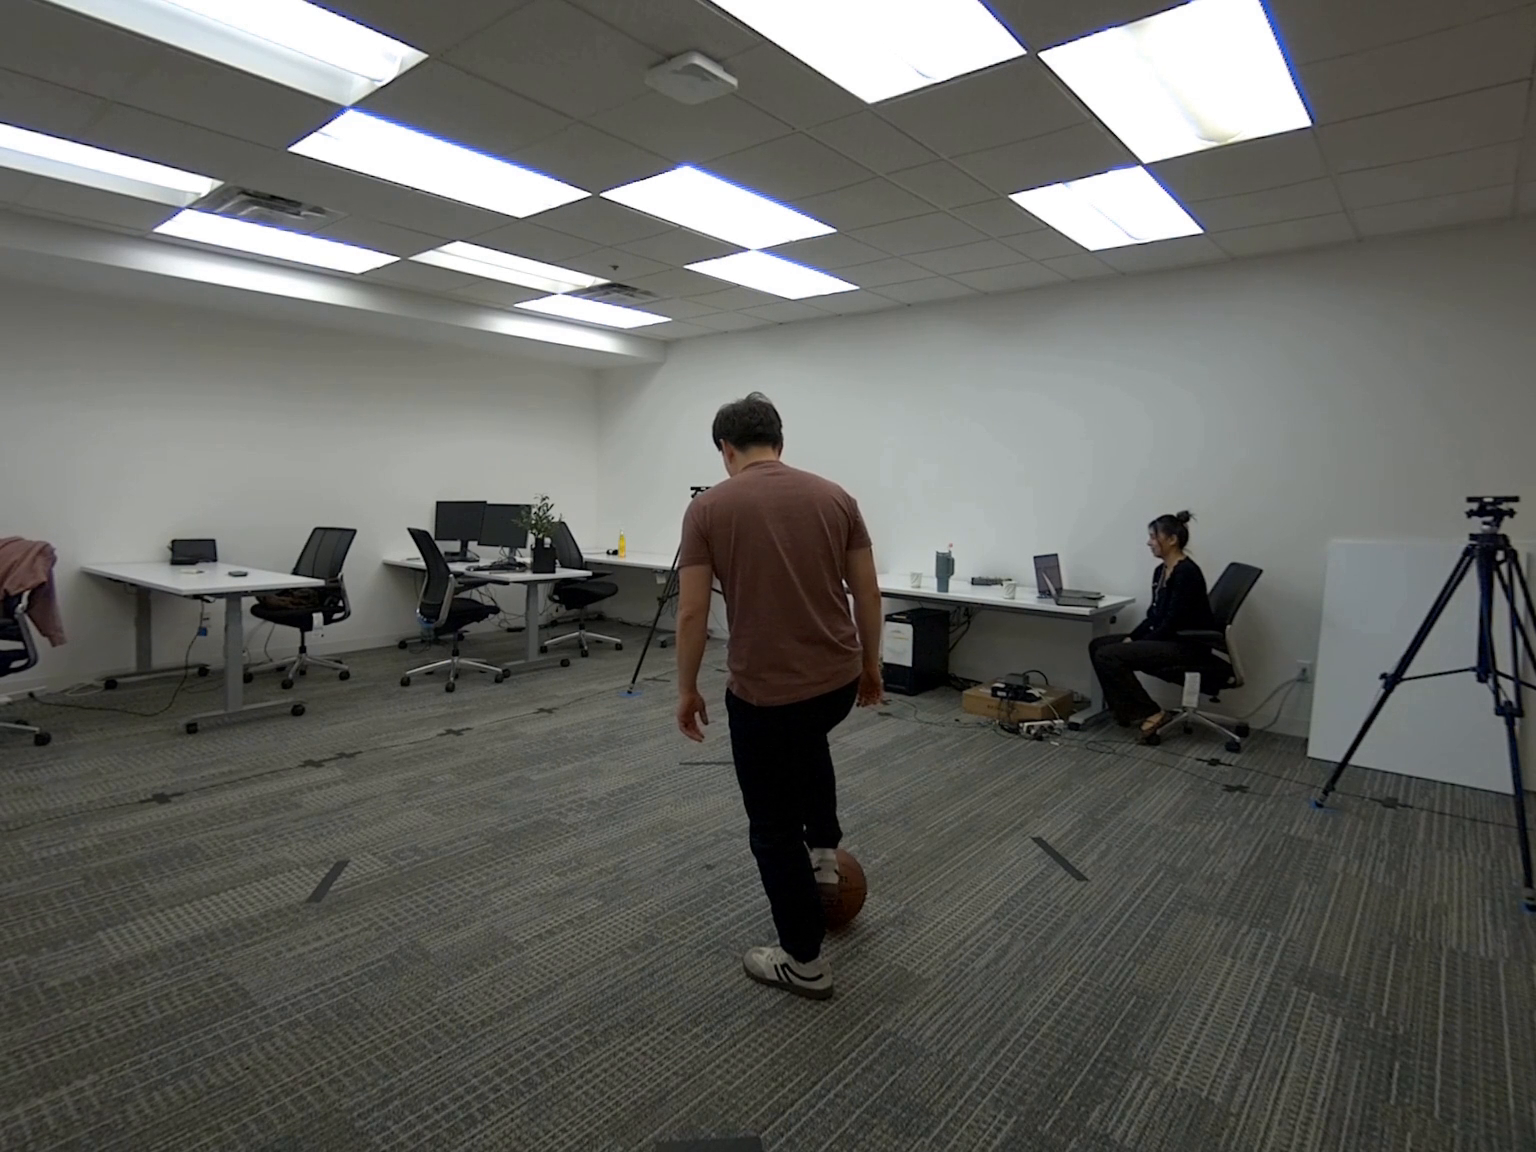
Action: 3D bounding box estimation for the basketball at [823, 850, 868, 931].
[{"bbox_3d":[0.198,0.990,2.741,0.235,0.235,0.237,1,4,-2],"label":"basketball"}]
